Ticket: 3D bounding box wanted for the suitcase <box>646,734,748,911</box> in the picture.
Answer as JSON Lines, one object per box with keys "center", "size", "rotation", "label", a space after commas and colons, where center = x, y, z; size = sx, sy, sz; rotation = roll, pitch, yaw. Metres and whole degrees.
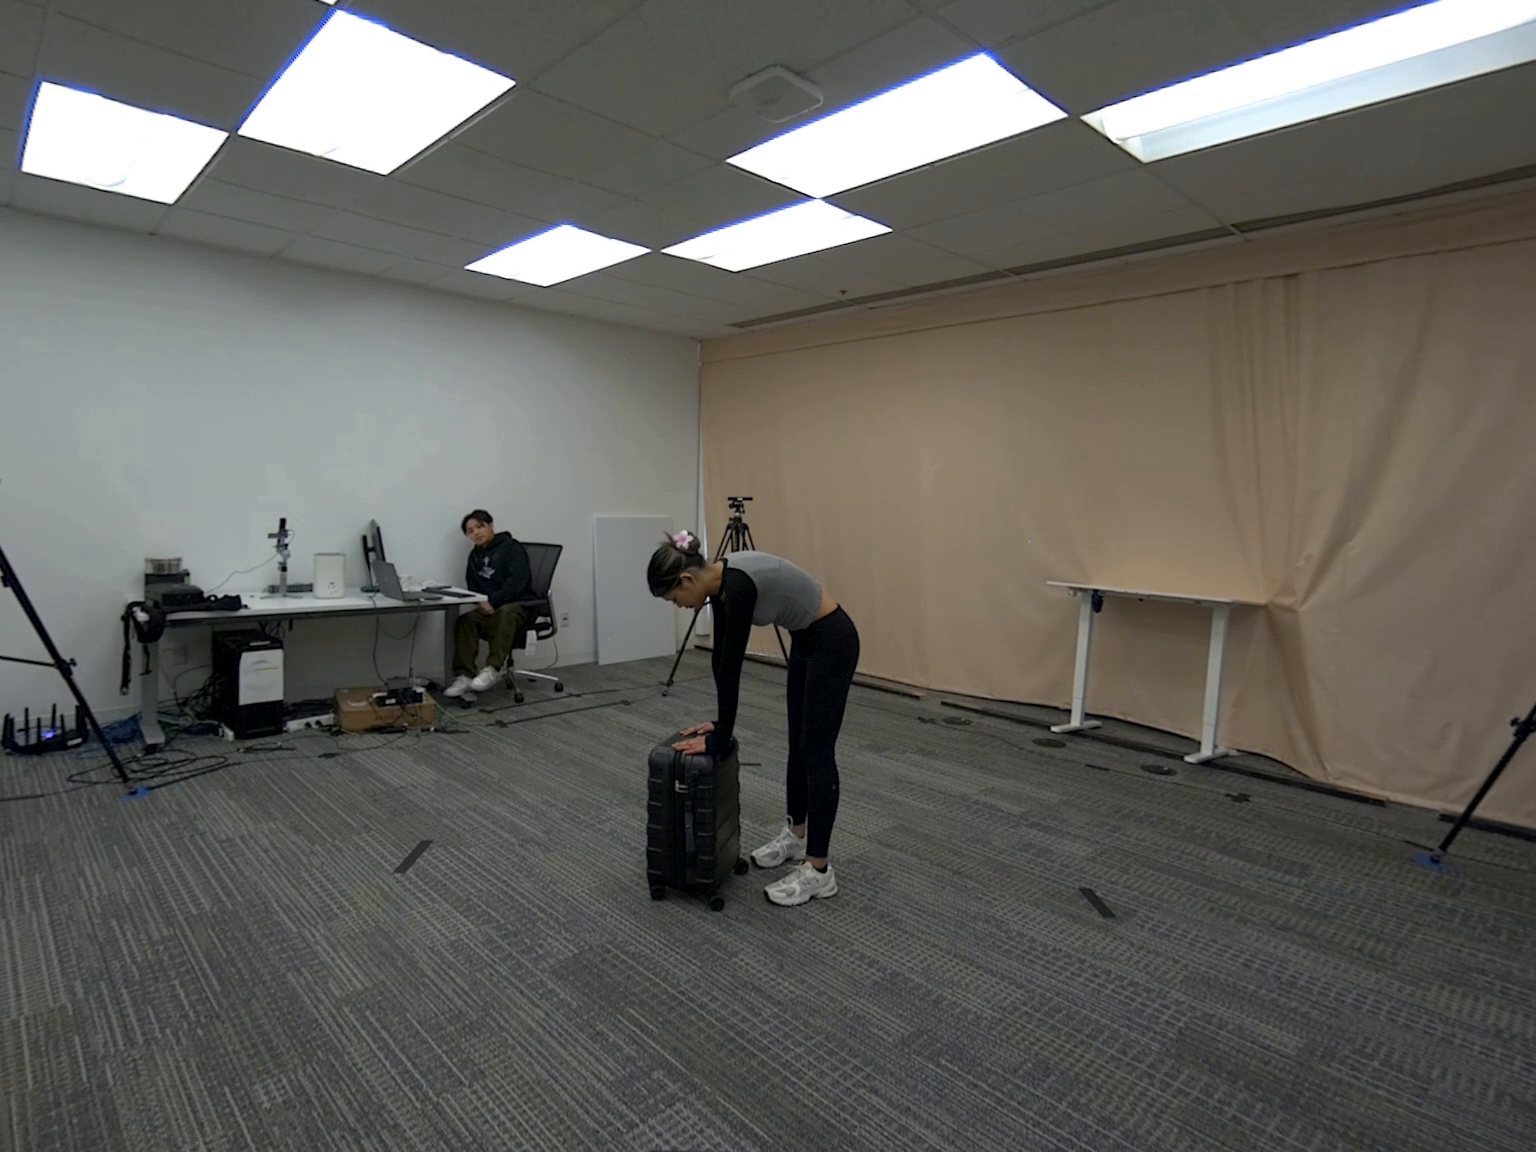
{"center": [-0.261, 0.839, 3.005], "size": [0.252, 0.548, 0.371], "rotation": [1, 4, 18], "label": "suitcase"}
